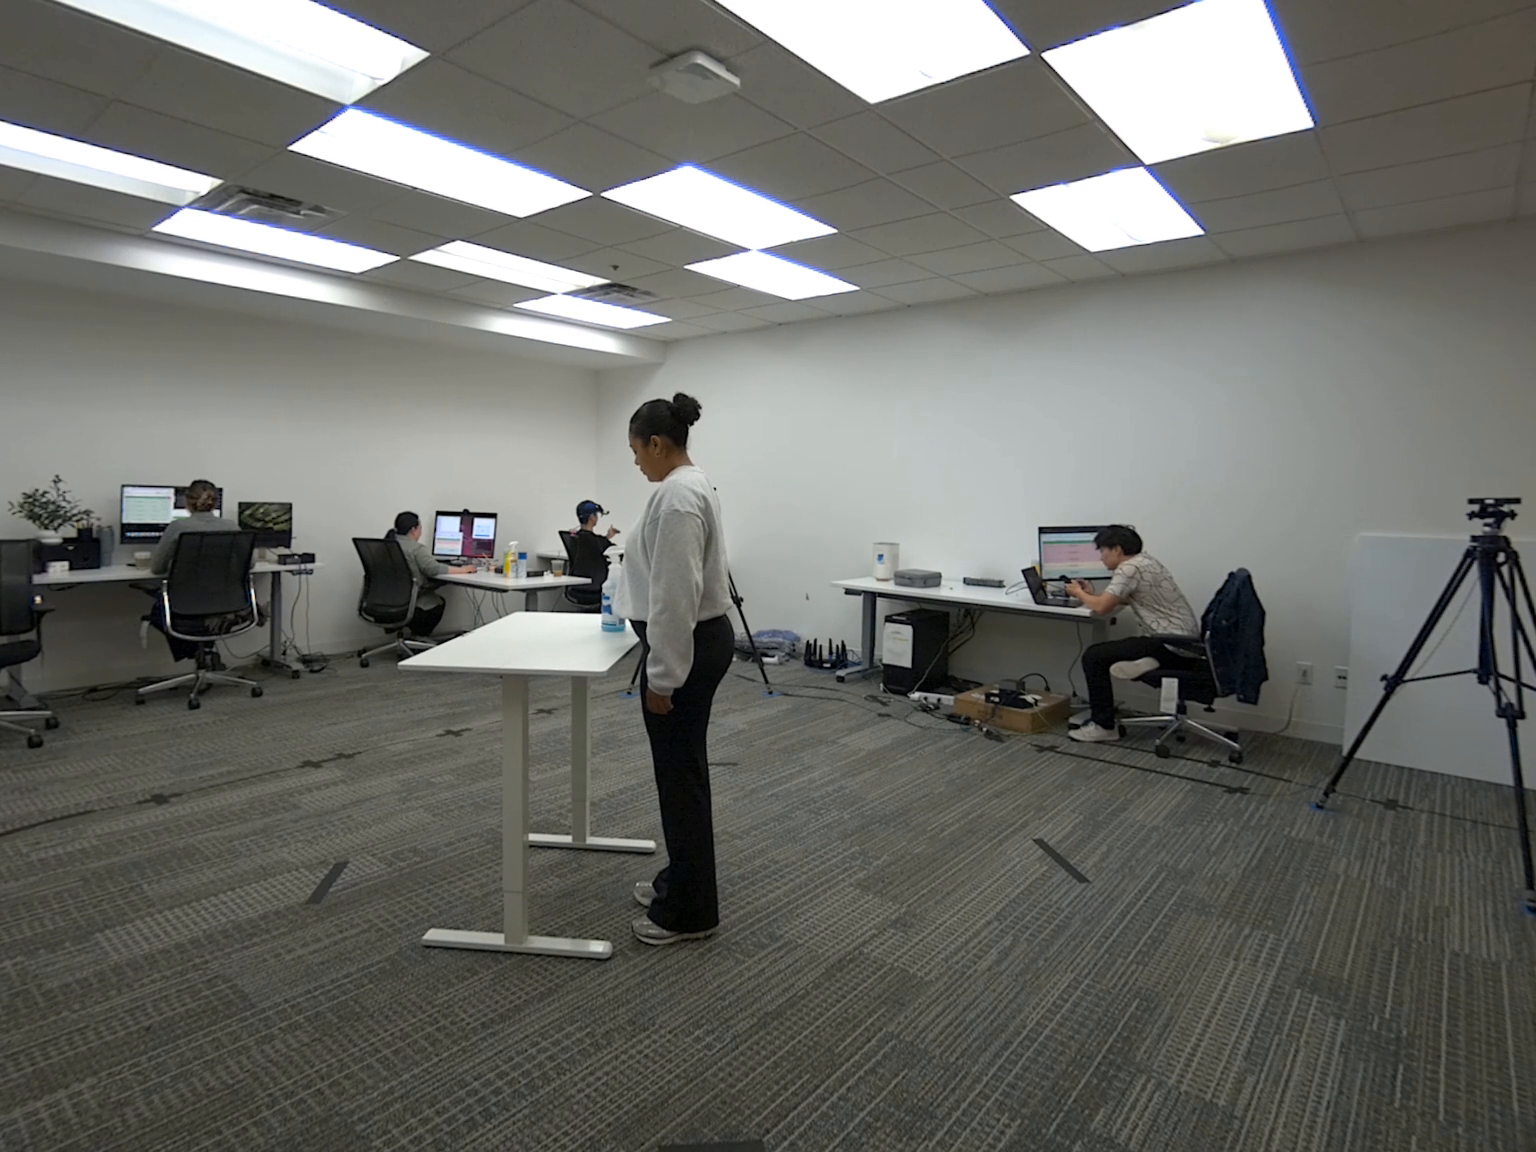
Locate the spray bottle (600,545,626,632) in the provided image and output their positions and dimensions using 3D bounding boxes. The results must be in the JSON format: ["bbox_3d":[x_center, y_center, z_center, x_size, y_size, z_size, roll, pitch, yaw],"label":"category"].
[{"bbox_3d":[-0.553,0.035,2.983,0.091,0.297,0.086,2,1,12],"label":"spray bottle"}]
